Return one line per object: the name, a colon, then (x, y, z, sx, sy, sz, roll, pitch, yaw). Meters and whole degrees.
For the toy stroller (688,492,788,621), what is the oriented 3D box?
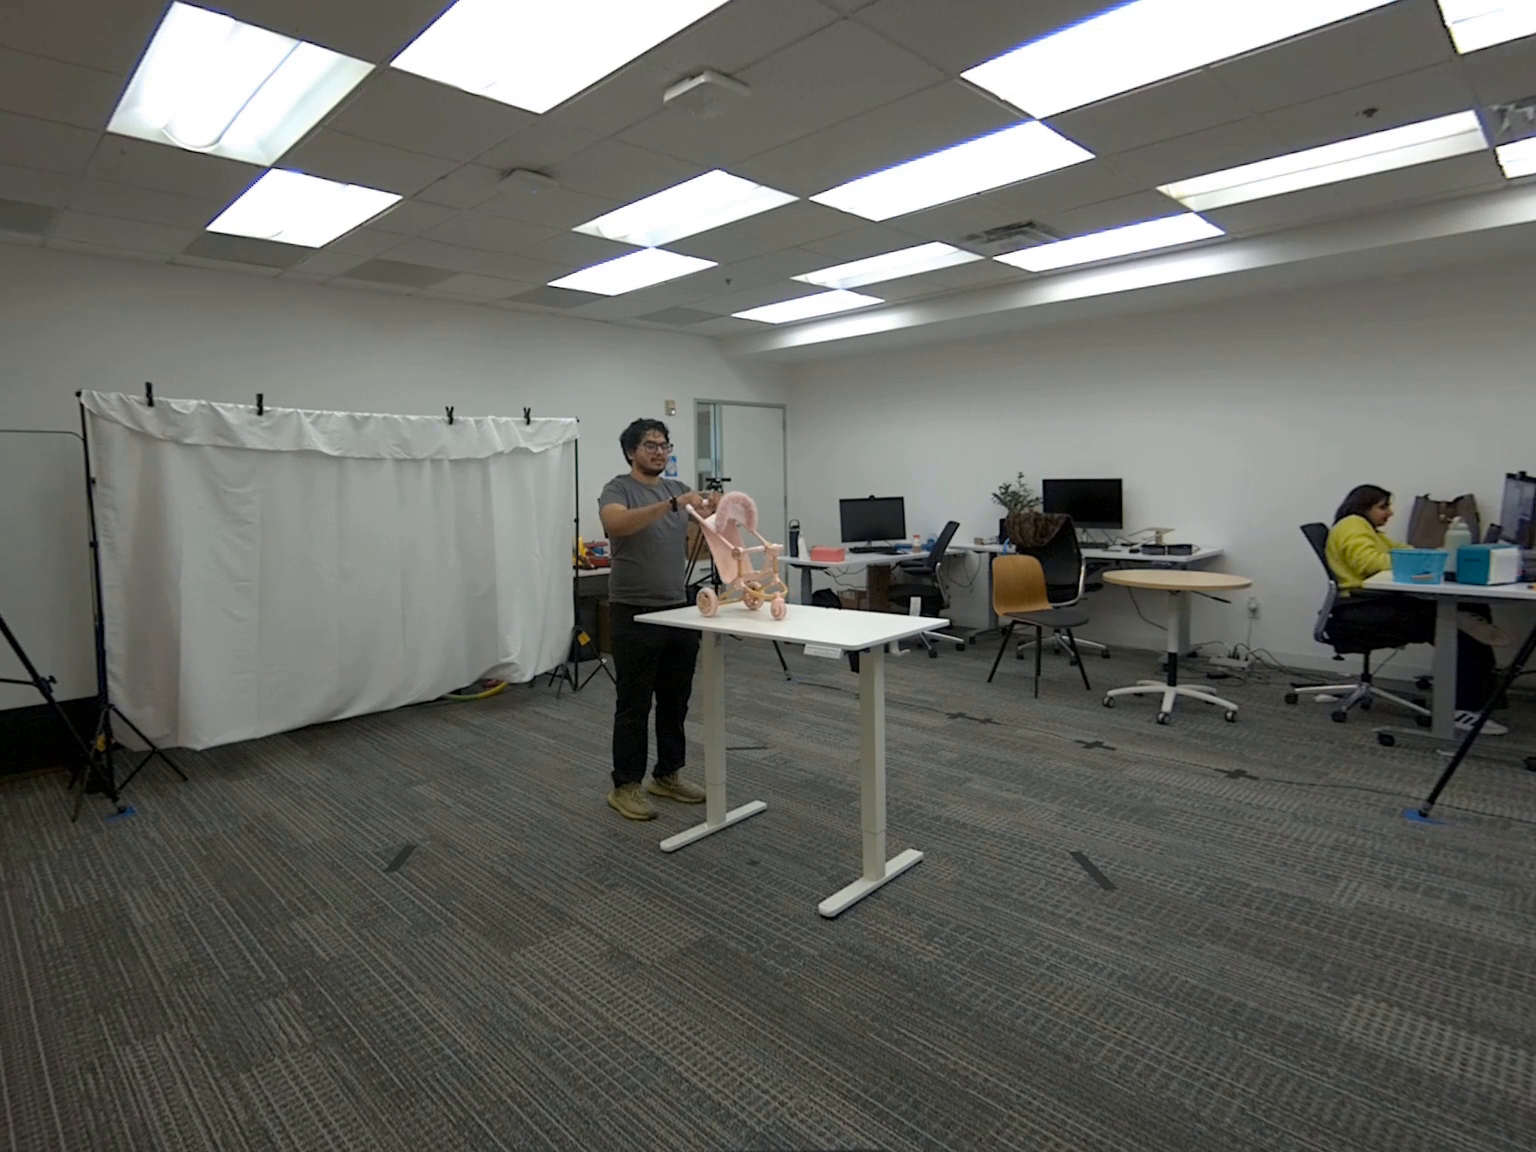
toy stroller: (-0.100, -0.076, 3.215, 0.274, 0.540, 0.347, -4, -10, -41)
